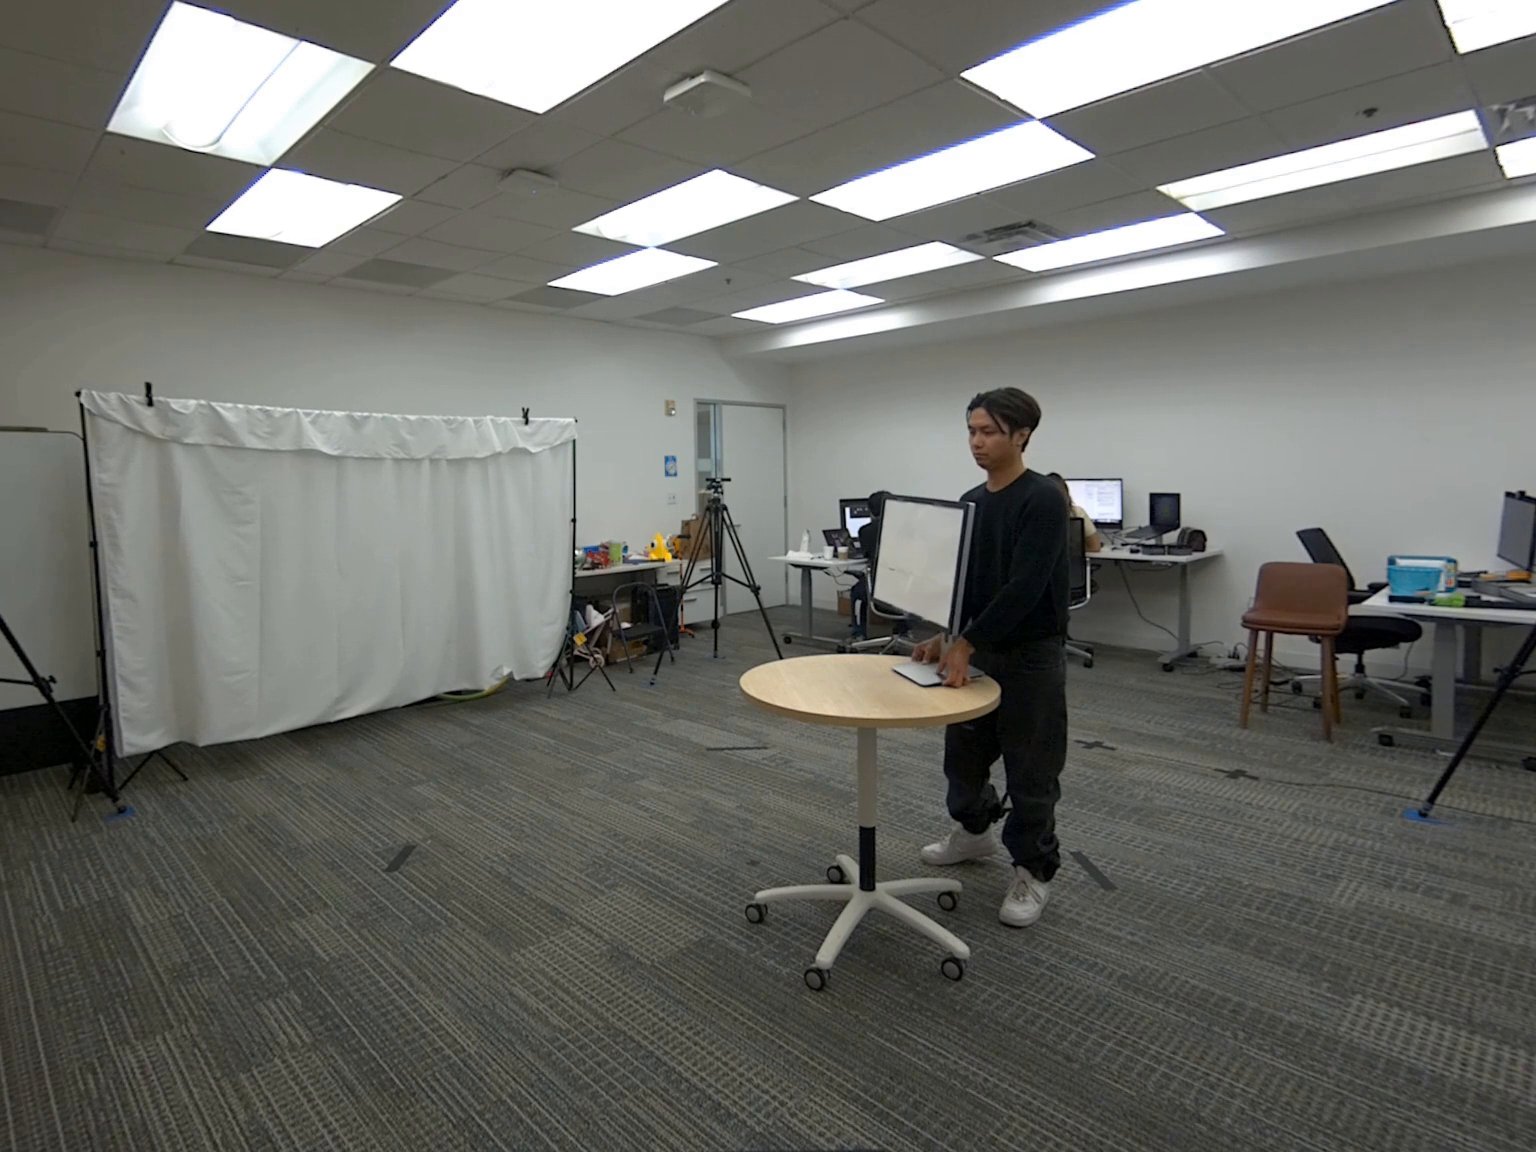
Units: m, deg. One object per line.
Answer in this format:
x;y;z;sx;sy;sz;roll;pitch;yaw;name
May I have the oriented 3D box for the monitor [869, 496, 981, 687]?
0.495;0.040;2.595;0.184;0.519;0.550;-6;8;-17;monitor
